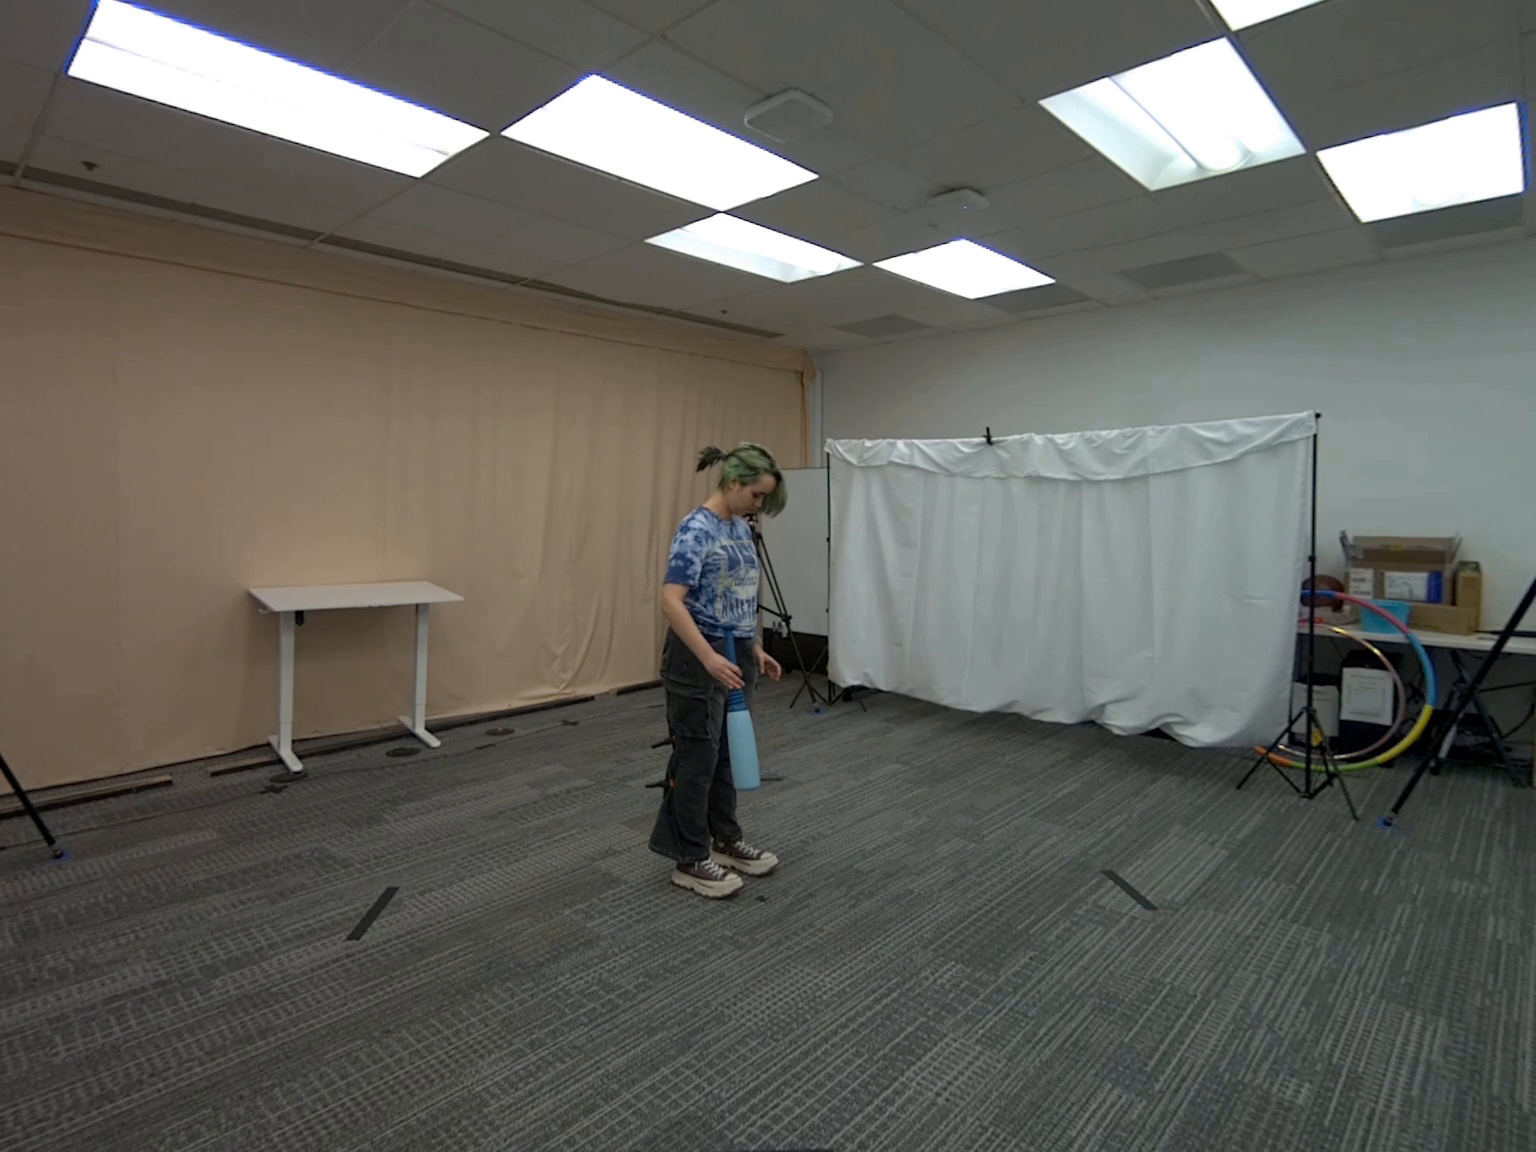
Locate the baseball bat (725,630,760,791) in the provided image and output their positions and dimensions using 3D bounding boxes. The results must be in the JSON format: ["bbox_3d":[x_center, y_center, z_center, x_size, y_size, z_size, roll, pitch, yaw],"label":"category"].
[{"bbox_3d":[-0.103,0.427,2.767,0.089,0.547,0.088,-4,-11,-3],"label":"baseball bat"}]
